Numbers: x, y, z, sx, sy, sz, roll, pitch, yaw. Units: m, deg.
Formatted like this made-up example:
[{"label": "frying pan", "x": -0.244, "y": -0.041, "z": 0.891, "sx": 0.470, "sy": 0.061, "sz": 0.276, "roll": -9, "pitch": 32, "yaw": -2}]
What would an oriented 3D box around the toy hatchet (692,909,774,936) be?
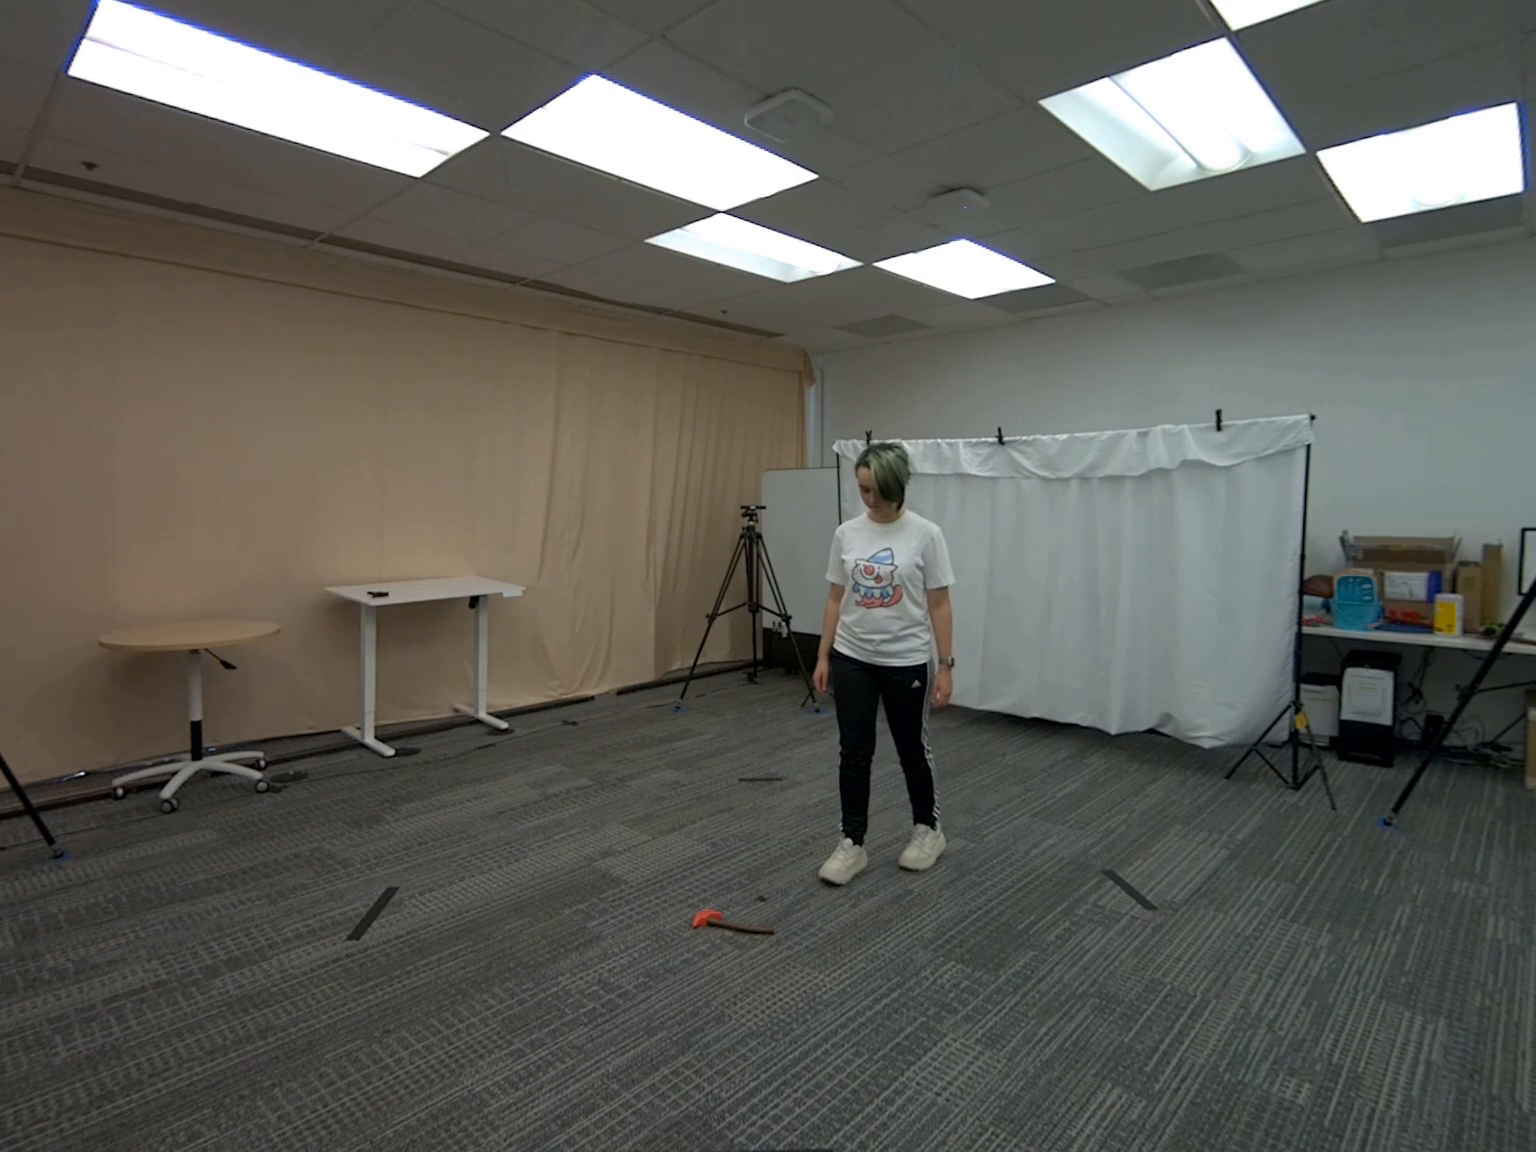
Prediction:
[{"label": "toy hatchet", "x": -0.110, "y": 1.151, "z": 2.804, "sx": 0.272, "sy": 0.029, "sz": 0.130, "roll": 3, "pitch": 0, "yaw": 5}]
